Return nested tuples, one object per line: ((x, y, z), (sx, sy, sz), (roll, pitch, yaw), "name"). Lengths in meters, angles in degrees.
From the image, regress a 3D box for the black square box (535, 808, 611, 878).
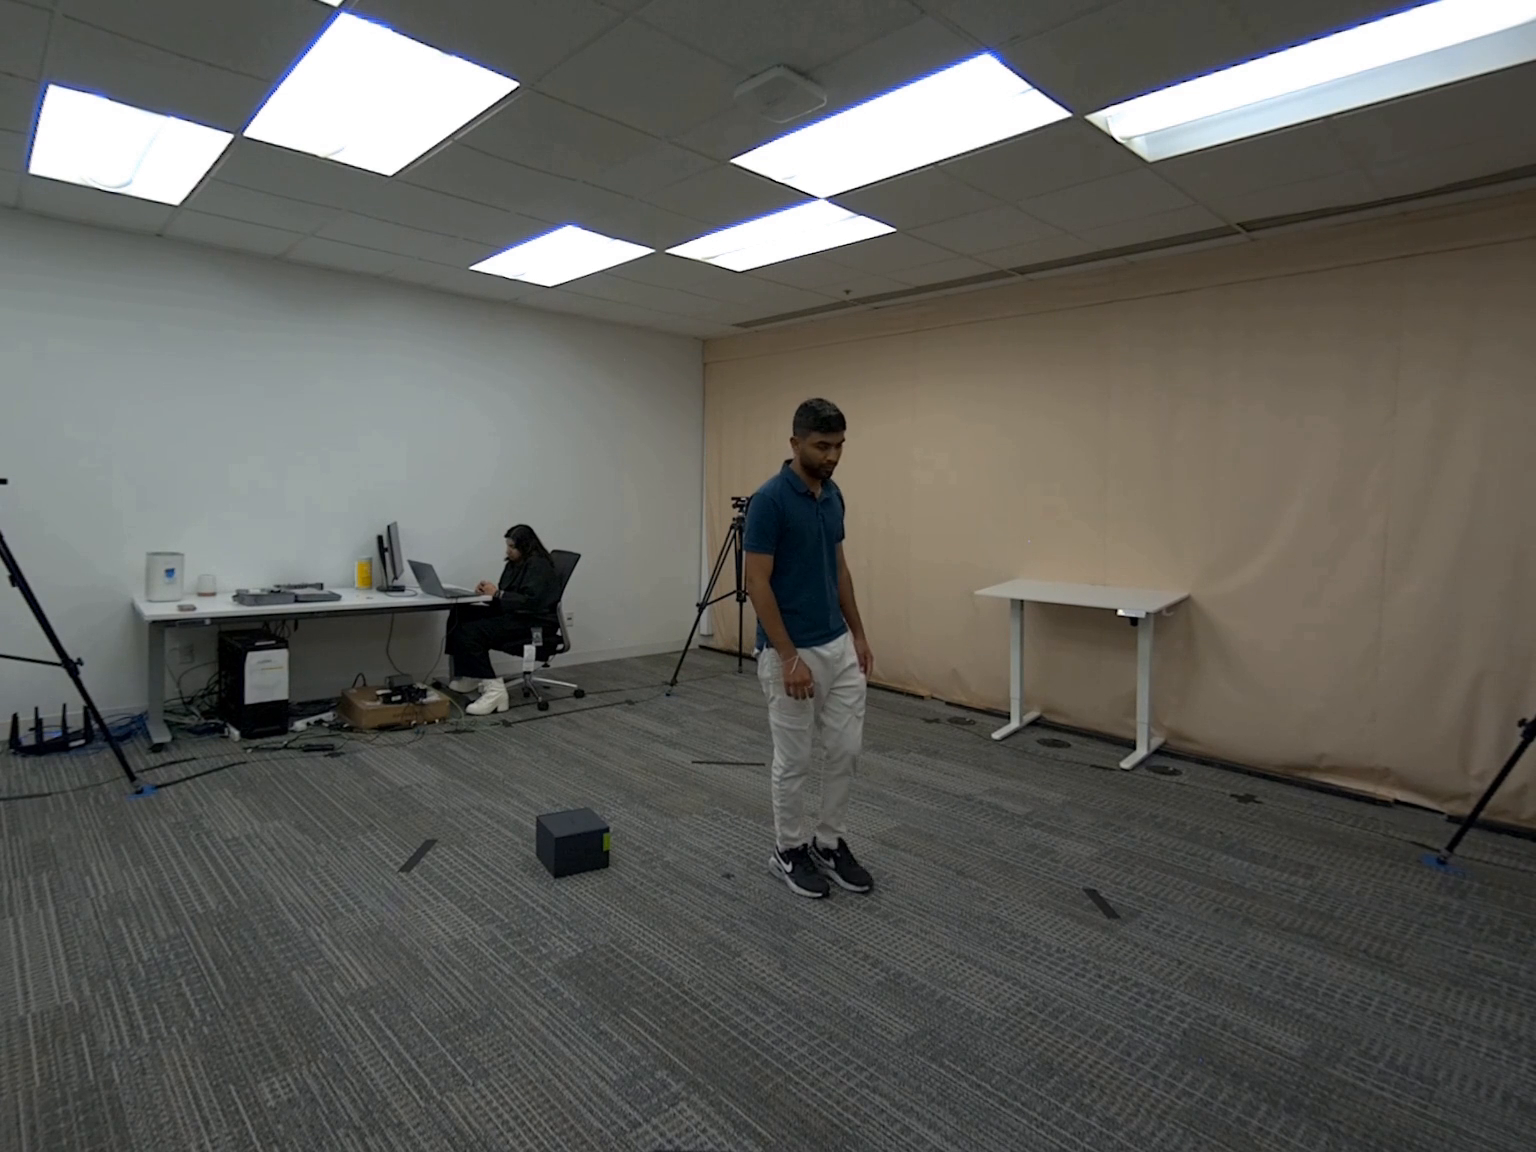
((-0.746, 1.001, 3.189), (0.212, 0.155, 0.233), (-1, 5, -32), "black square box")
